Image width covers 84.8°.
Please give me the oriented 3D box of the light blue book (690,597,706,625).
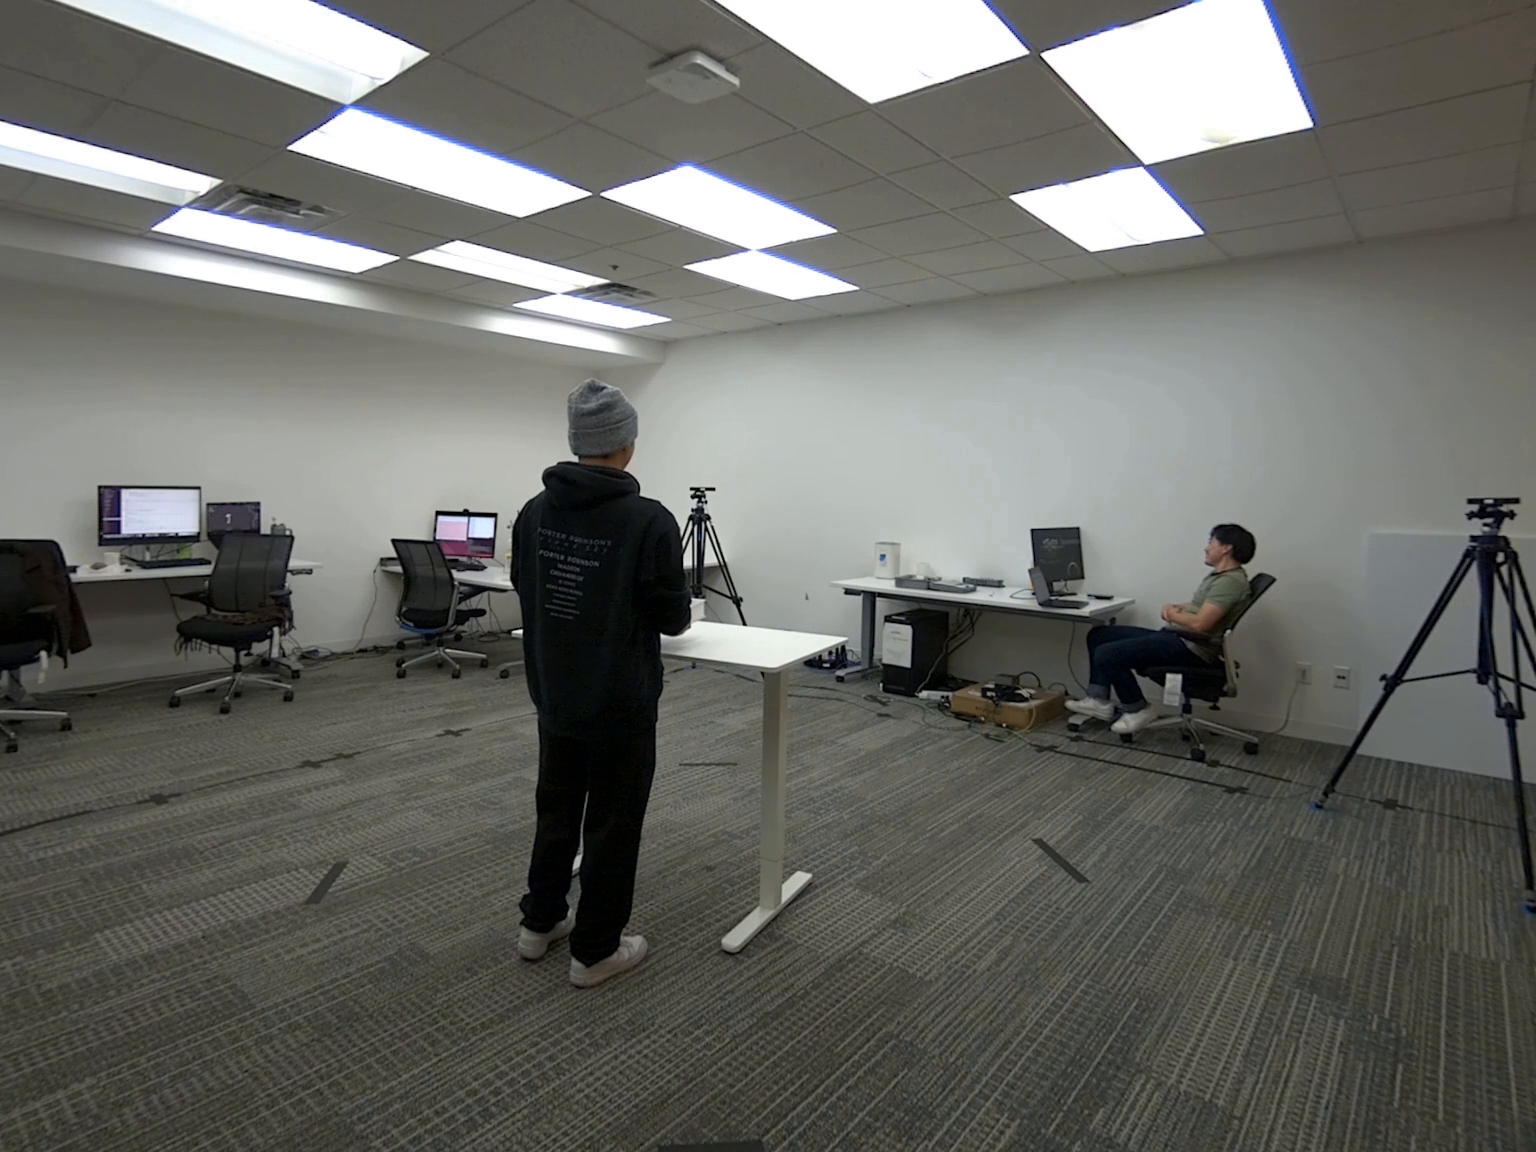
[{"bbox_3d":[-0.320,0.123,2.777,0.195,0.058,0.258,2,12,18],"label":"light blue book"}]
